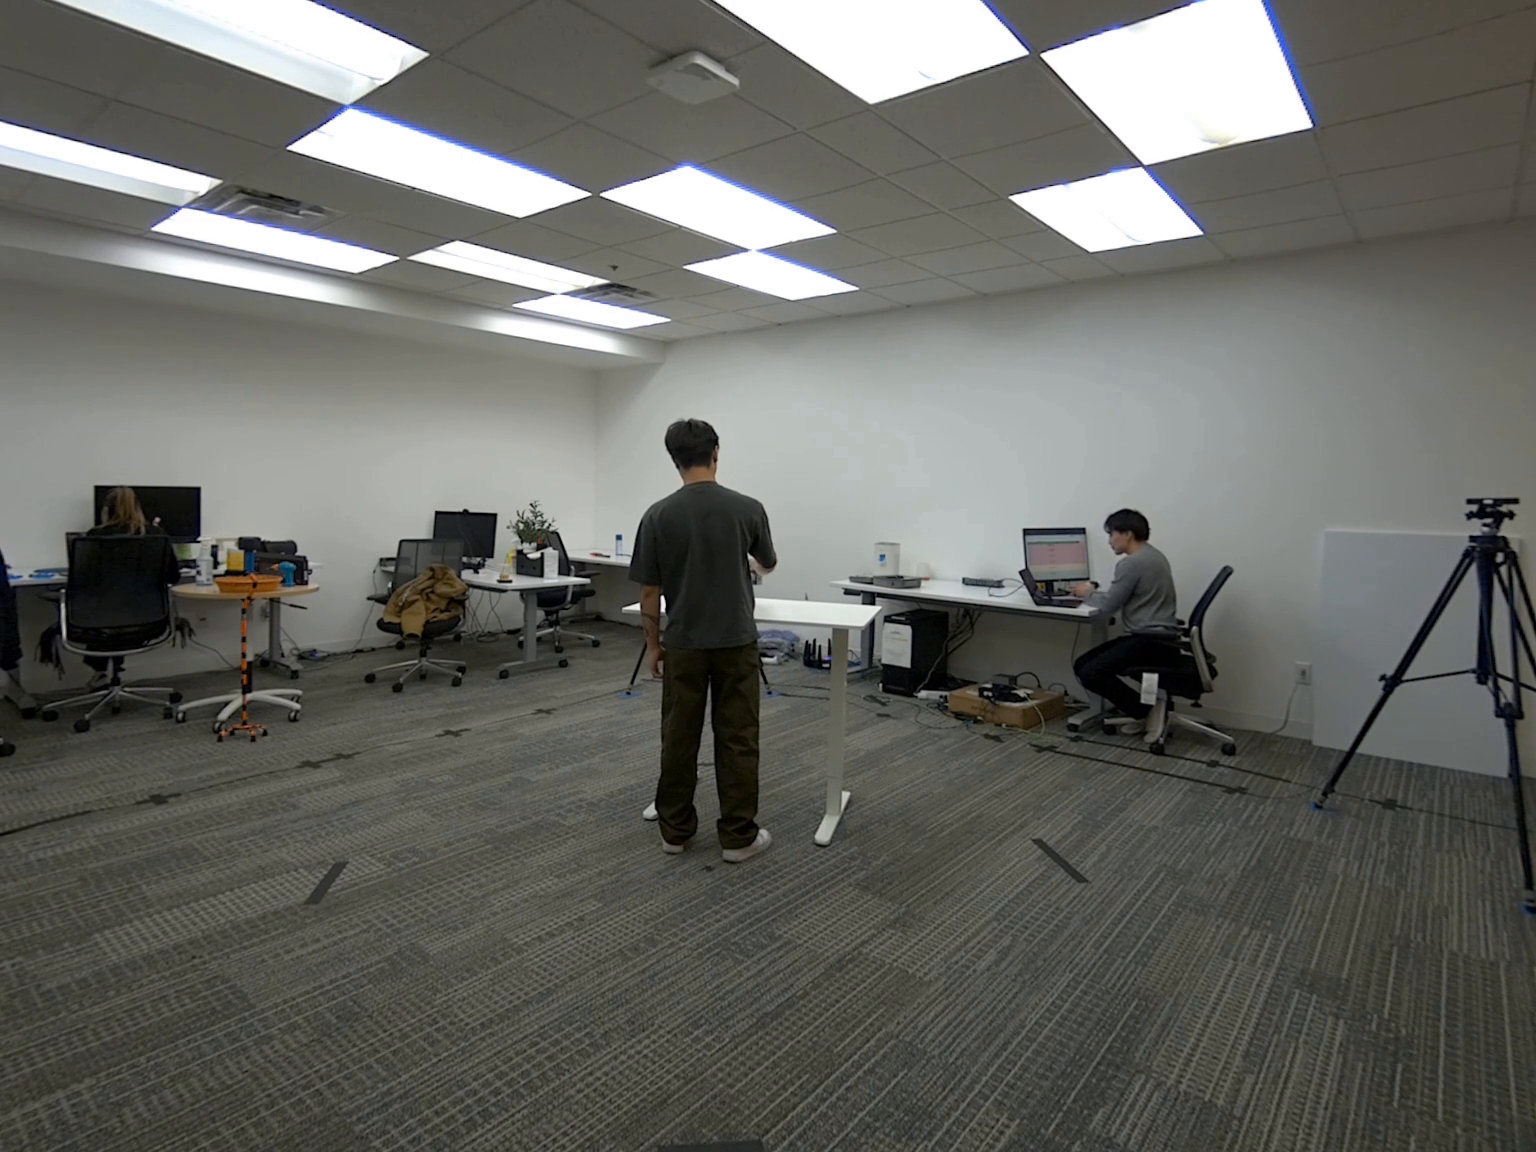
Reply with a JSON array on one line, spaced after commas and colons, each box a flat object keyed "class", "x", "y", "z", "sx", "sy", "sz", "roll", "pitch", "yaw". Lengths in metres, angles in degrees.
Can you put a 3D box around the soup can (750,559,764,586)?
[{"class": "soup can", "x": -0.062, "y": -0.027, "z": 3.772, "sx": 0.067, "sy": 0.120, "sz": 0.068, "roll": -2, "pitch": 8, "yaw": -1}]
